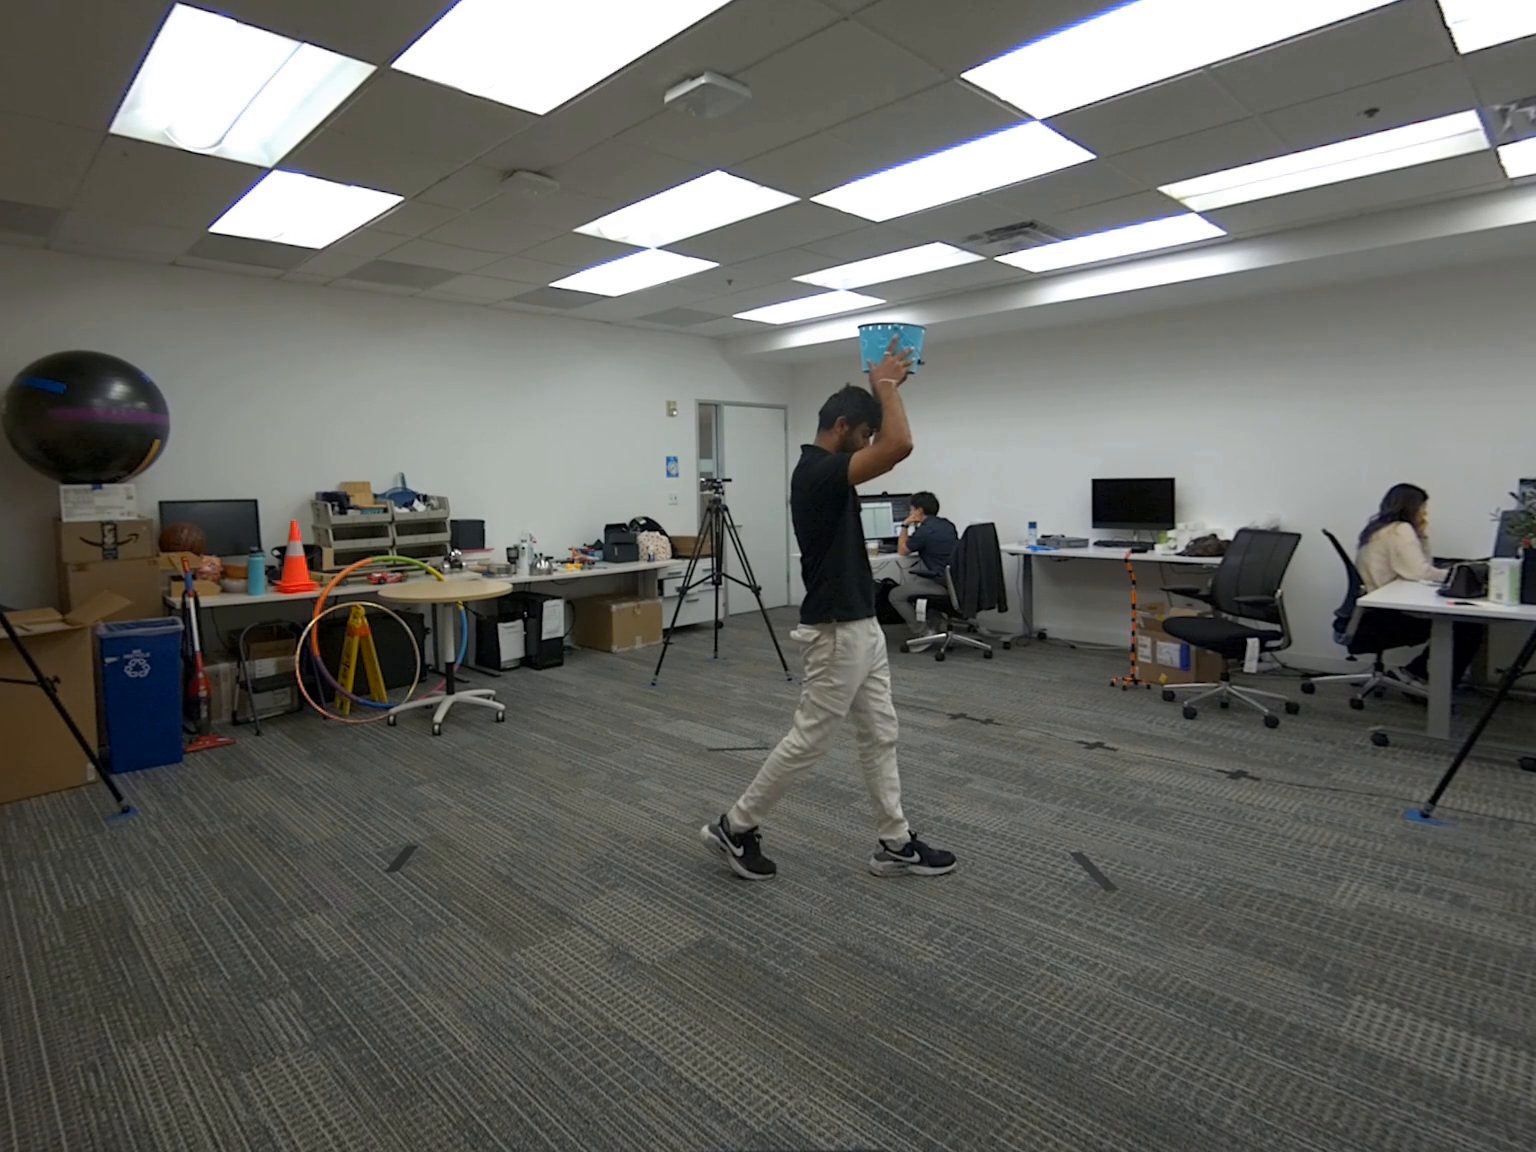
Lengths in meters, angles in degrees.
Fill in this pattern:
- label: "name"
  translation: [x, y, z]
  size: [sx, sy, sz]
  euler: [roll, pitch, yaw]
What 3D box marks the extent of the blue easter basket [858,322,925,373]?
- label: "blue easter basket"
  translation: [0.434, -0.783, 2.922]
  size: [0.243, 0.155, 0.245]
  euler: [1, 8, -2]
